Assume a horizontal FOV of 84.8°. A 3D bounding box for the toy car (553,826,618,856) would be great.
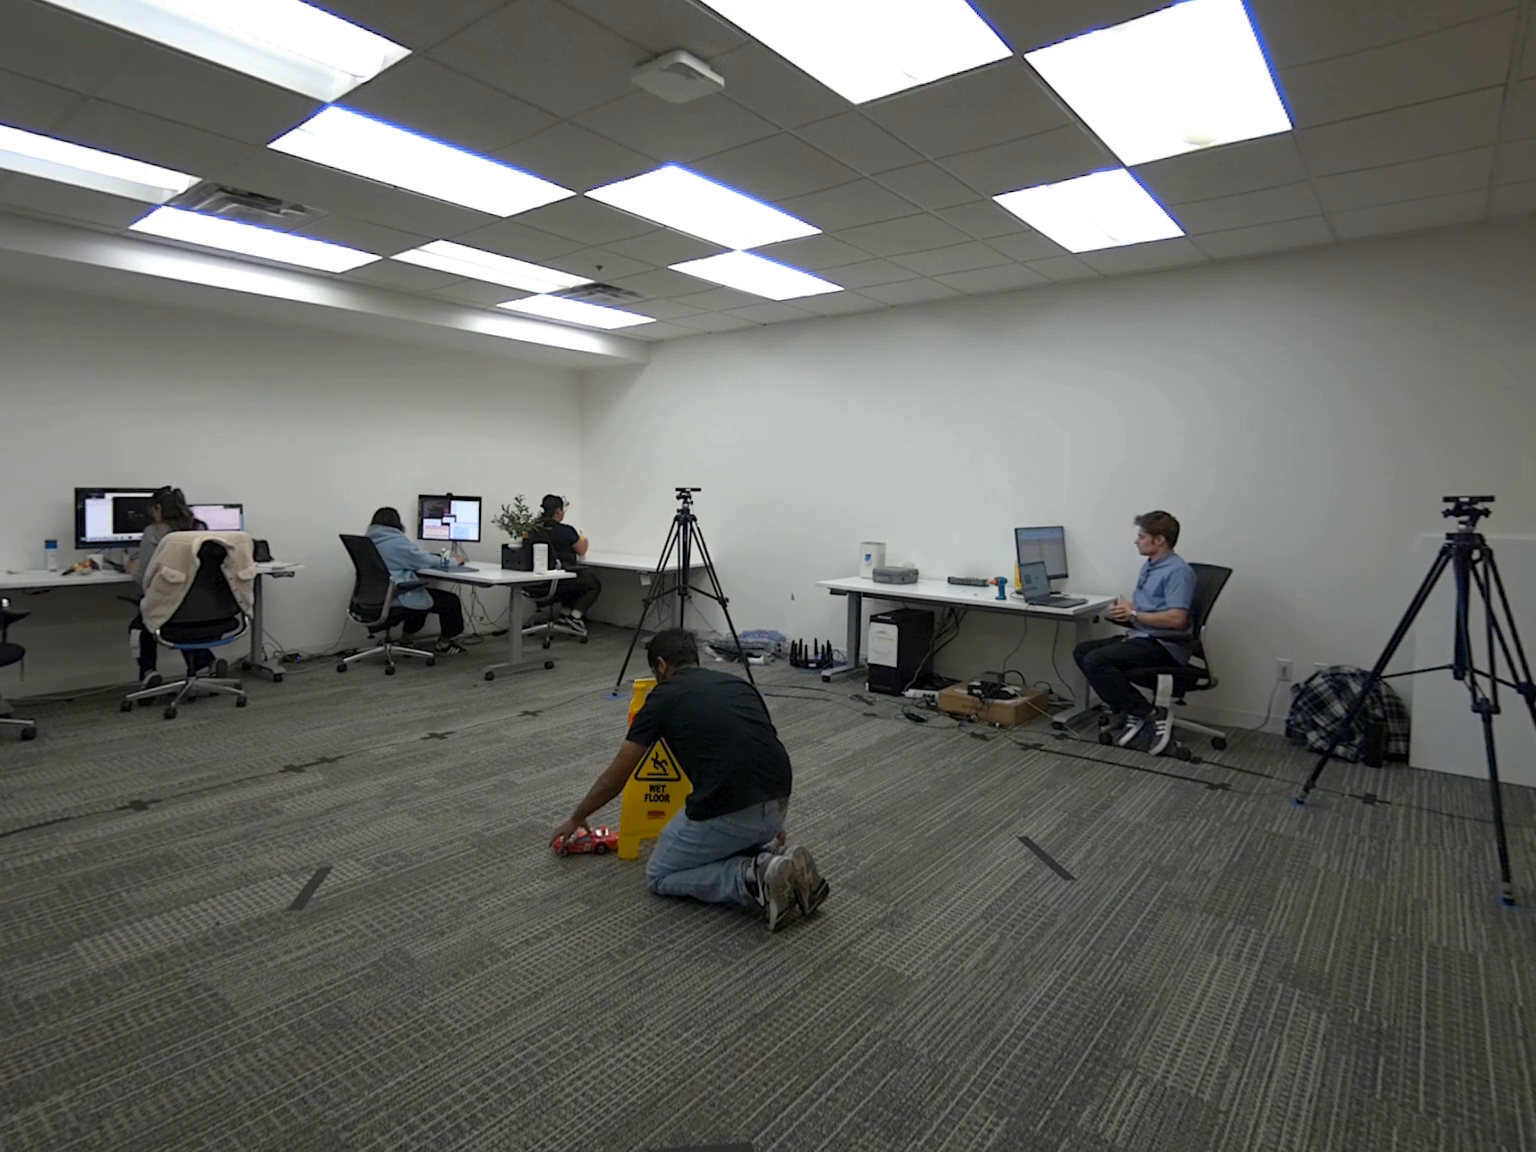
[{"bbox_3d":[-0.700,1.019,3.261,0.253,0.083,0.132,-14,7,-9],"label":"toy car"}]
